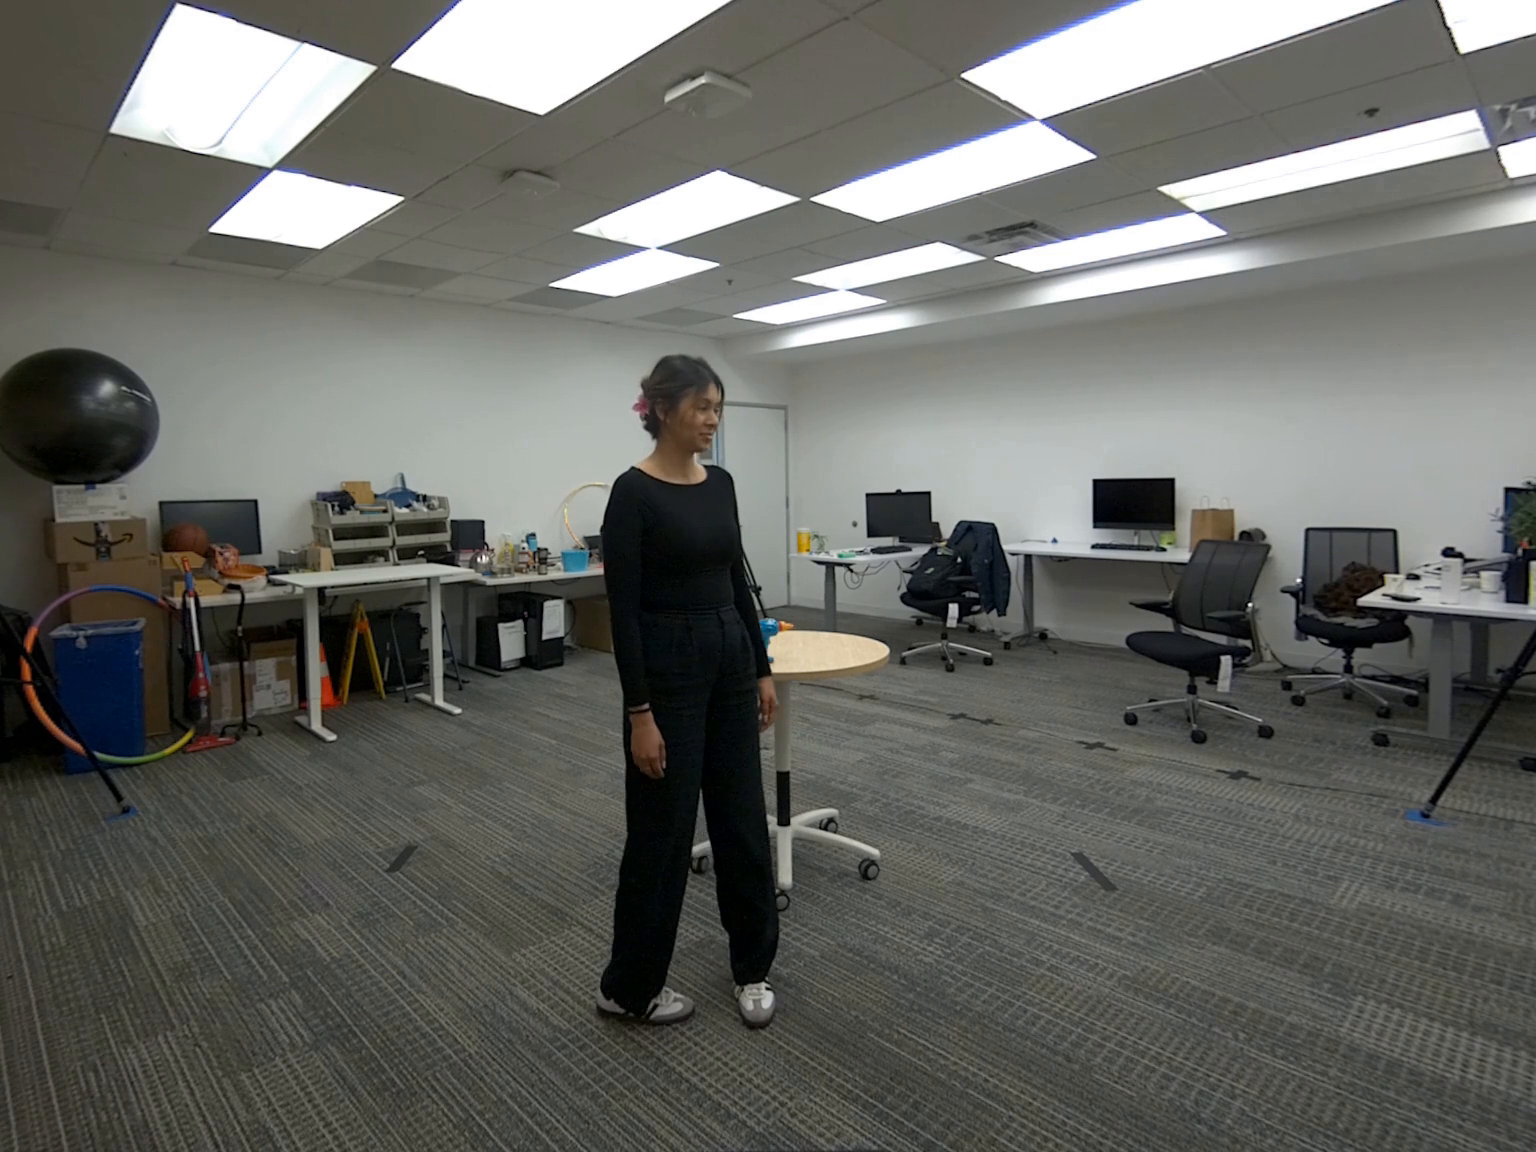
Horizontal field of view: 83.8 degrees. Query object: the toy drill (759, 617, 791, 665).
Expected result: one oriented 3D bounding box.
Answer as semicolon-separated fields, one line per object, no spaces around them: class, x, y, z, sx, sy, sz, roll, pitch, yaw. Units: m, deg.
toy drill;0.011;0.210;2.867;0.166;0.145;0.063;-4;4;-30
